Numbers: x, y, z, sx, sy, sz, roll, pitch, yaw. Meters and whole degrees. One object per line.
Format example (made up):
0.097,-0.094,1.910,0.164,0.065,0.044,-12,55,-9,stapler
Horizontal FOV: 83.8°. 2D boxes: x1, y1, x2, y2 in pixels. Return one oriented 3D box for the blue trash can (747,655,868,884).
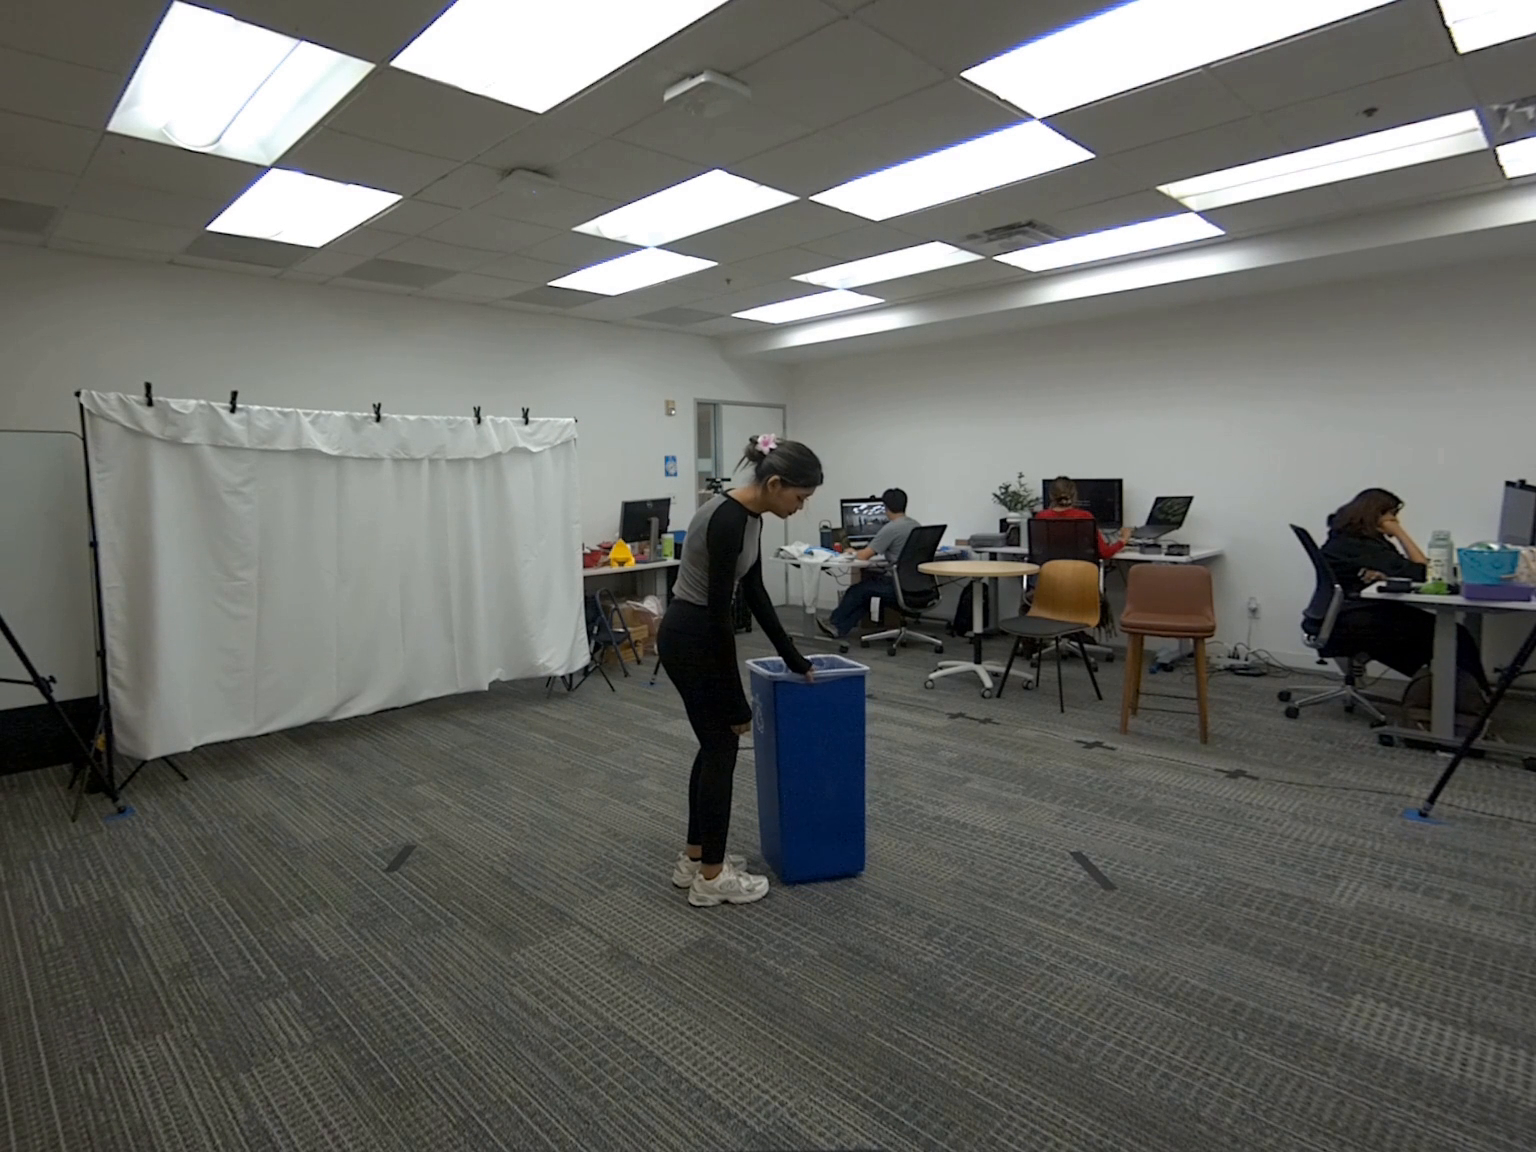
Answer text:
0.150,0.672,3.089,0.373,0.714,0.379,-2,0,-14,blue trash can
